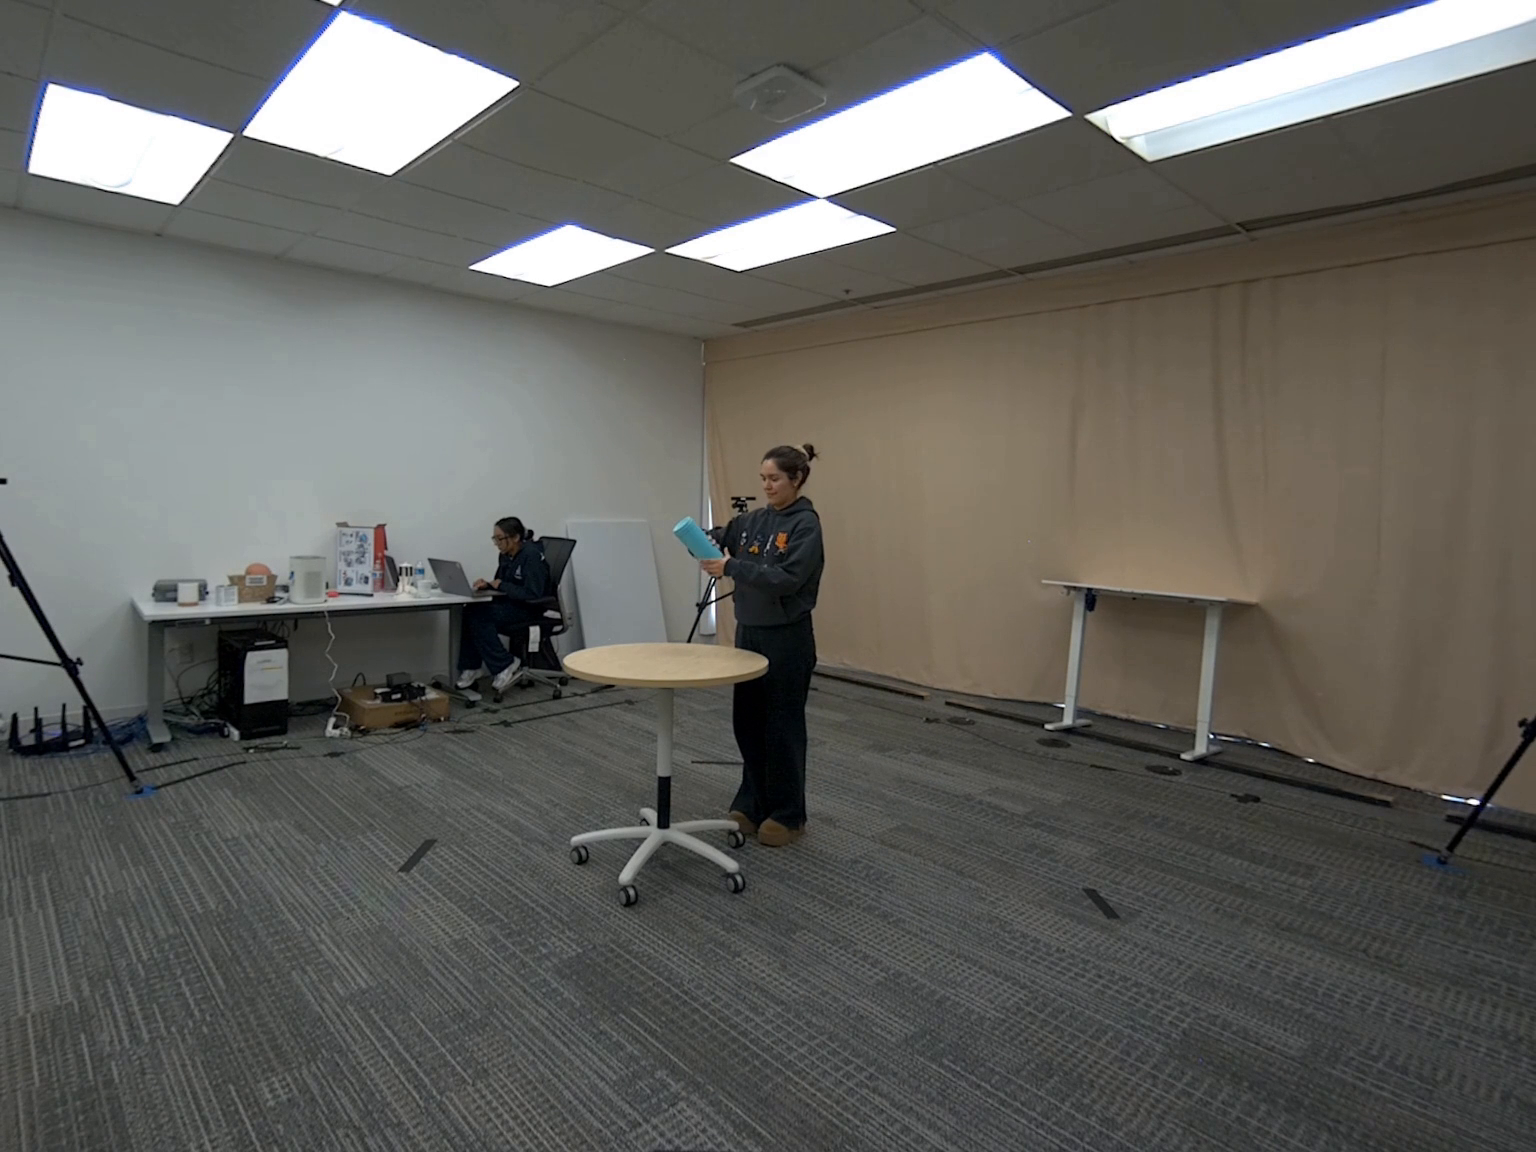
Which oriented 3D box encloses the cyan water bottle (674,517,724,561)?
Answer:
[{"bbox_3d":[-0.259,-0.101,3.318,0.092,0.278,0.094,-35,19,13],"label":"cyan water bottle"}]
